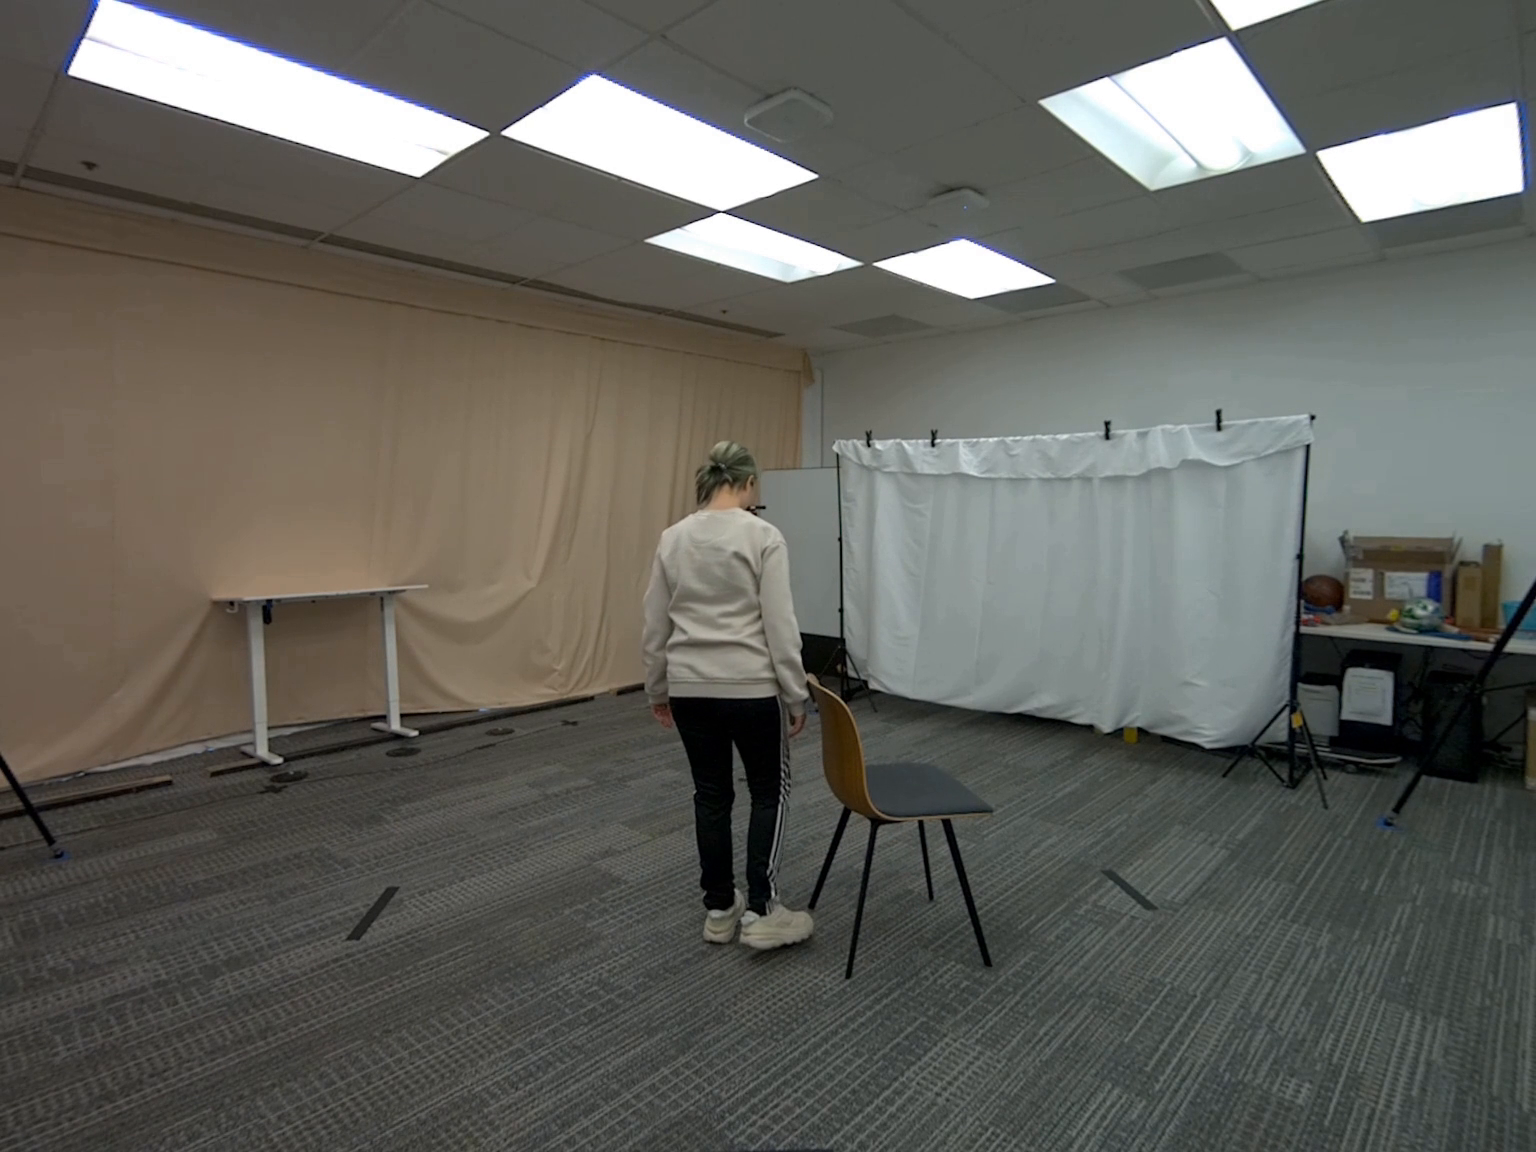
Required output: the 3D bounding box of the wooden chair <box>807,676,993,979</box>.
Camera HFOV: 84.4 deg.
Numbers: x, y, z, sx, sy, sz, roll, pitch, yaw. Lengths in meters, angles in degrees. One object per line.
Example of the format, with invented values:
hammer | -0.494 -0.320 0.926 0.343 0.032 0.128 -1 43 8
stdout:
wooden chair | 0.420 0.738 2.706 0.517 0.875 0.484 -5 3 -11
